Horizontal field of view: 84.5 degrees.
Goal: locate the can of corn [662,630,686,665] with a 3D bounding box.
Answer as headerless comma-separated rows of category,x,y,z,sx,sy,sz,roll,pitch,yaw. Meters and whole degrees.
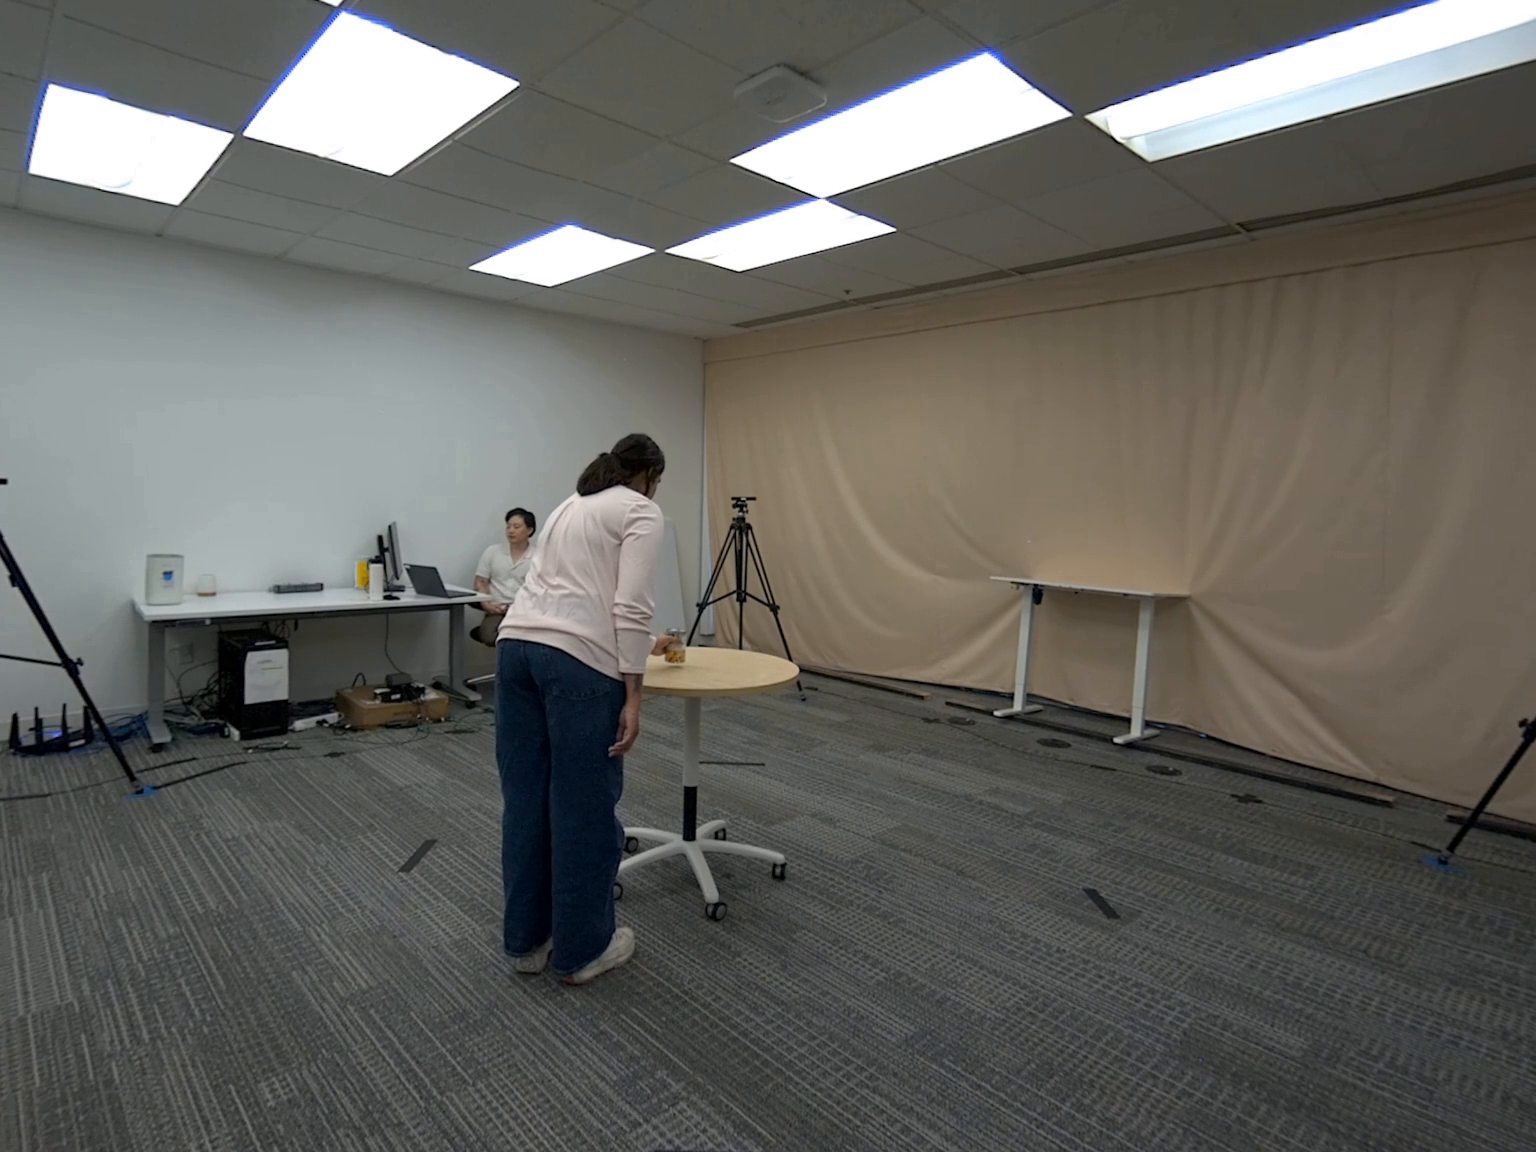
can of corn,-0.349,0.250,3.003,0.074,0.111,0.074,2,3,-1
